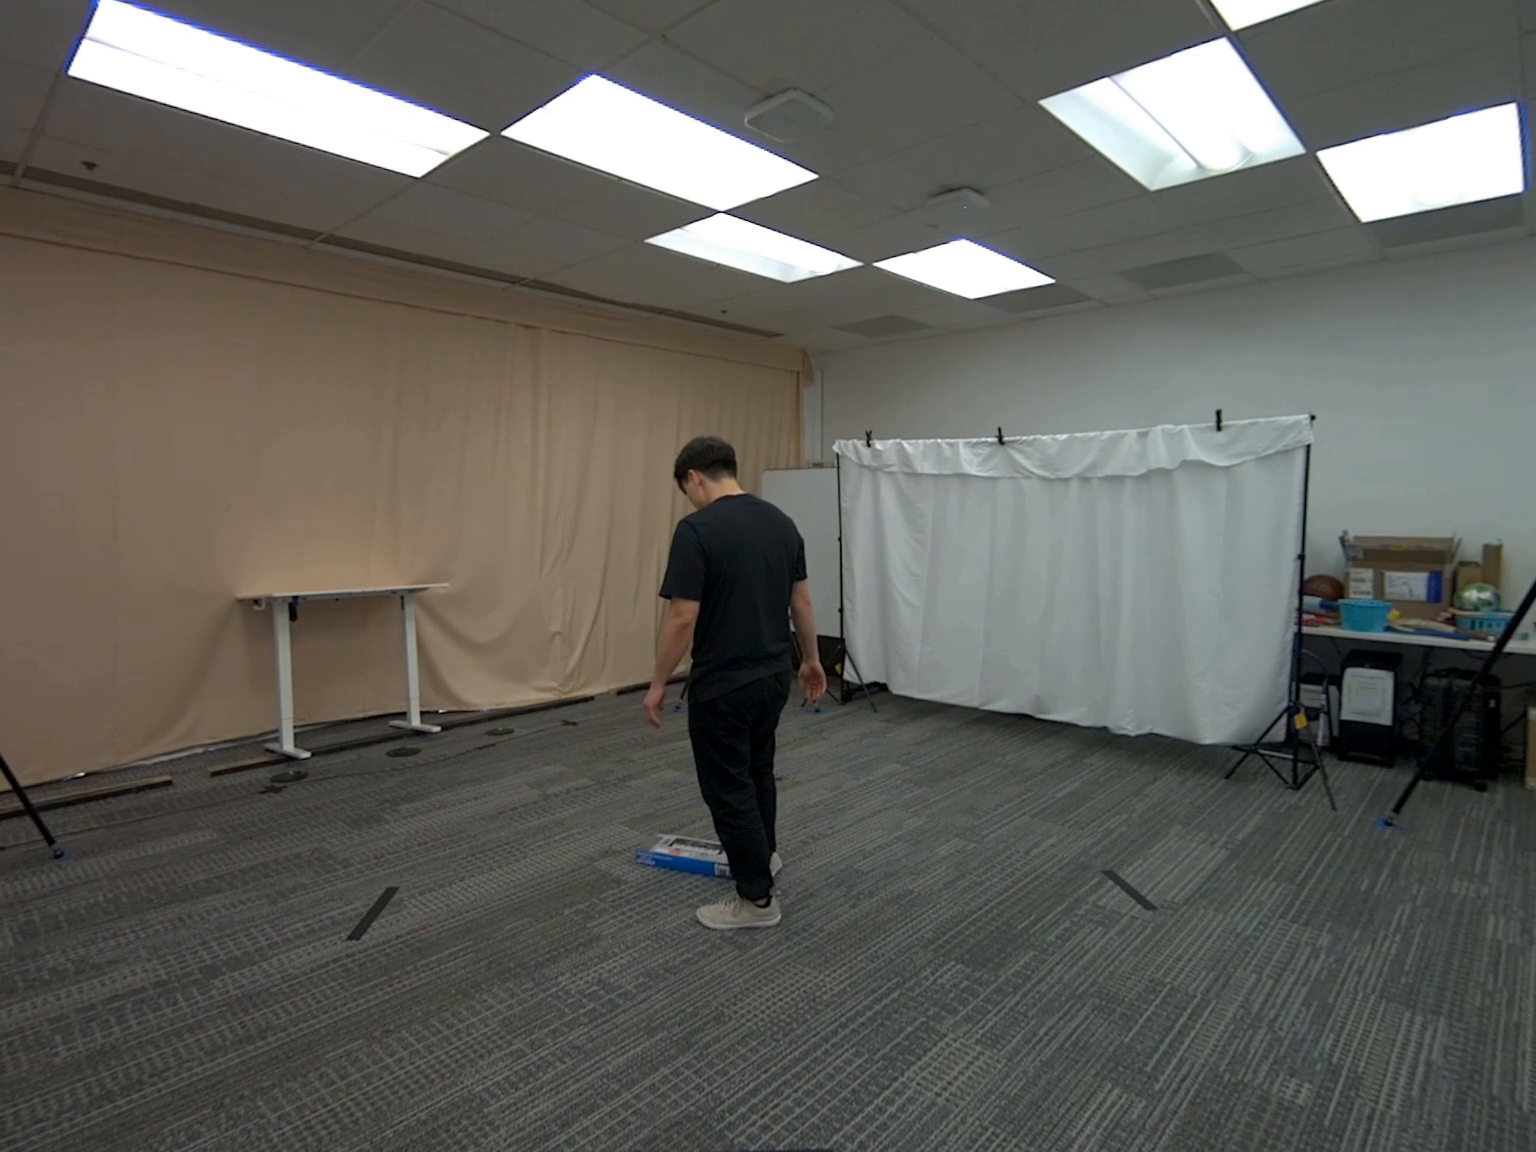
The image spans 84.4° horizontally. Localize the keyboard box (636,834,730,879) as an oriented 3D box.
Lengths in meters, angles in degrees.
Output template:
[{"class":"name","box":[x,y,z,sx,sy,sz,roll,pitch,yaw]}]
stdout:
[{"class":"keyboard box","box":[-0.284,1.091,3.279,0.447,0.059,0.172,1,6,22]}]
